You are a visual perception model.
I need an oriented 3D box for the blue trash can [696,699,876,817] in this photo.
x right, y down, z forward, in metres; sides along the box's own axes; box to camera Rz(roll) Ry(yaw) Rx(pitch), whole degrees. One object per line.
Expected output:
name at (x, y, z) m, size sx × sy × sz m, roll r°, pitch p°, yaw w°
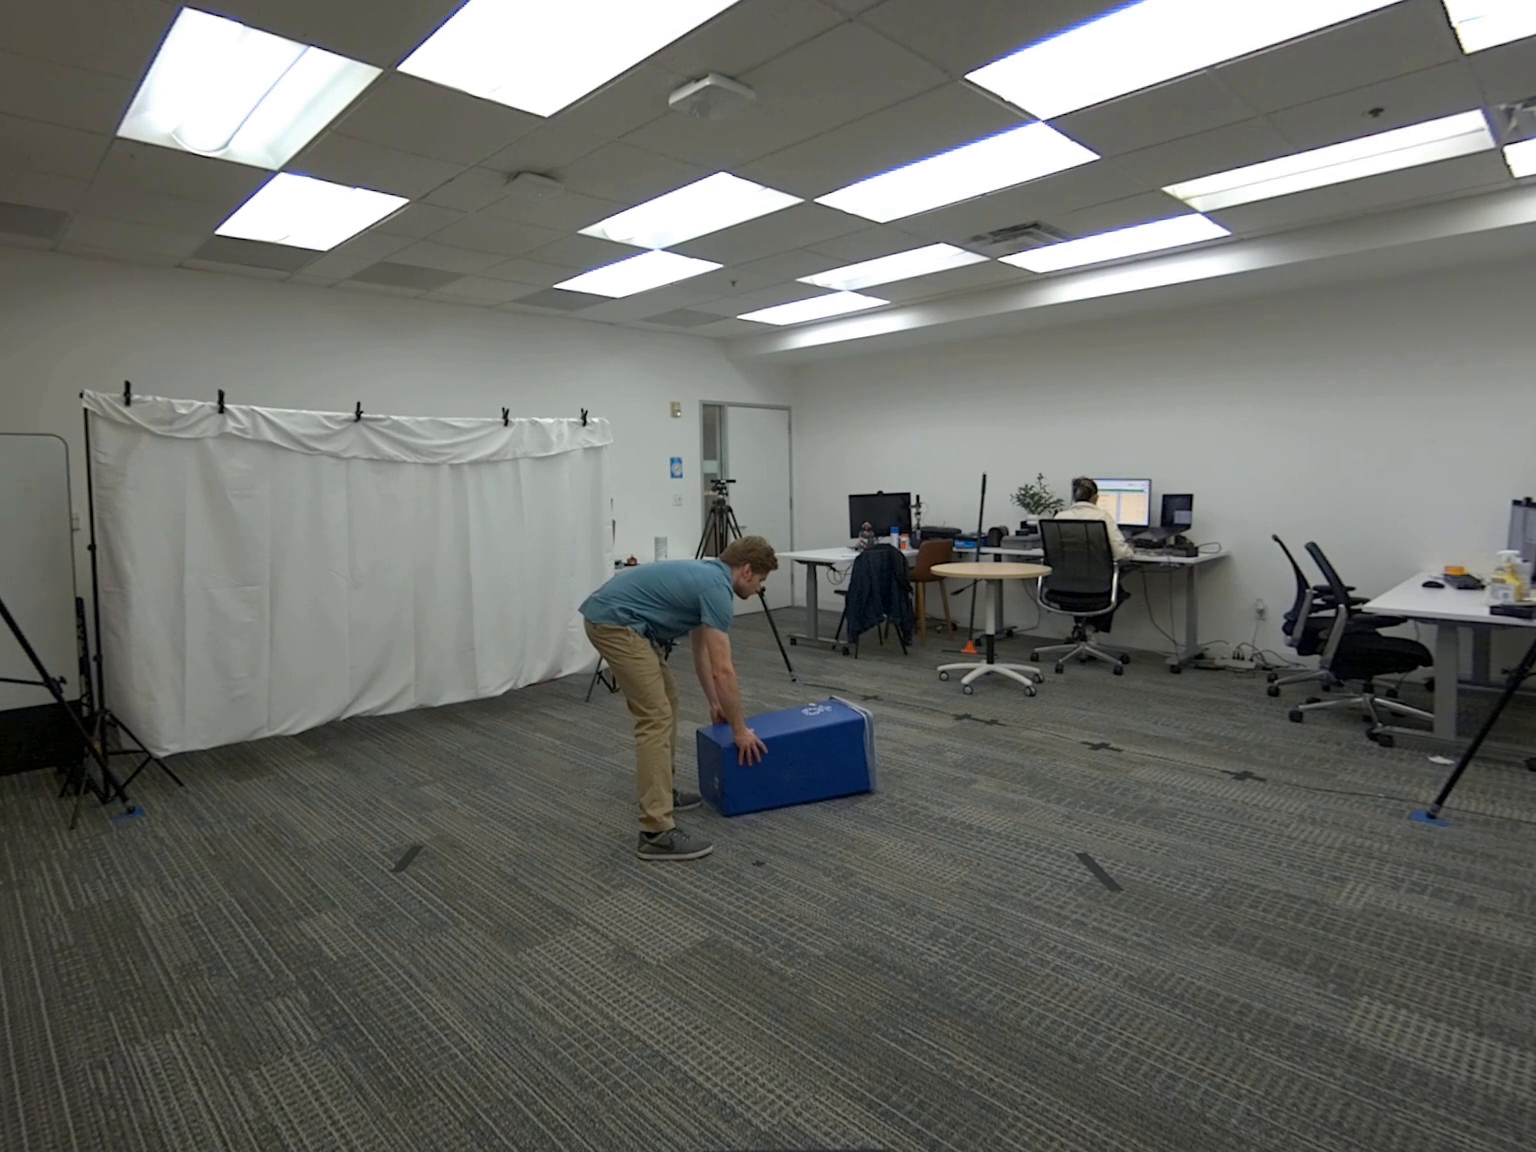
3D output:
blue trash can at (0.075, 0.803, 3.785) m, size 0.700 × 0.376 × 0.383 m, roll -7°, pitch 6°, yaw -23°
